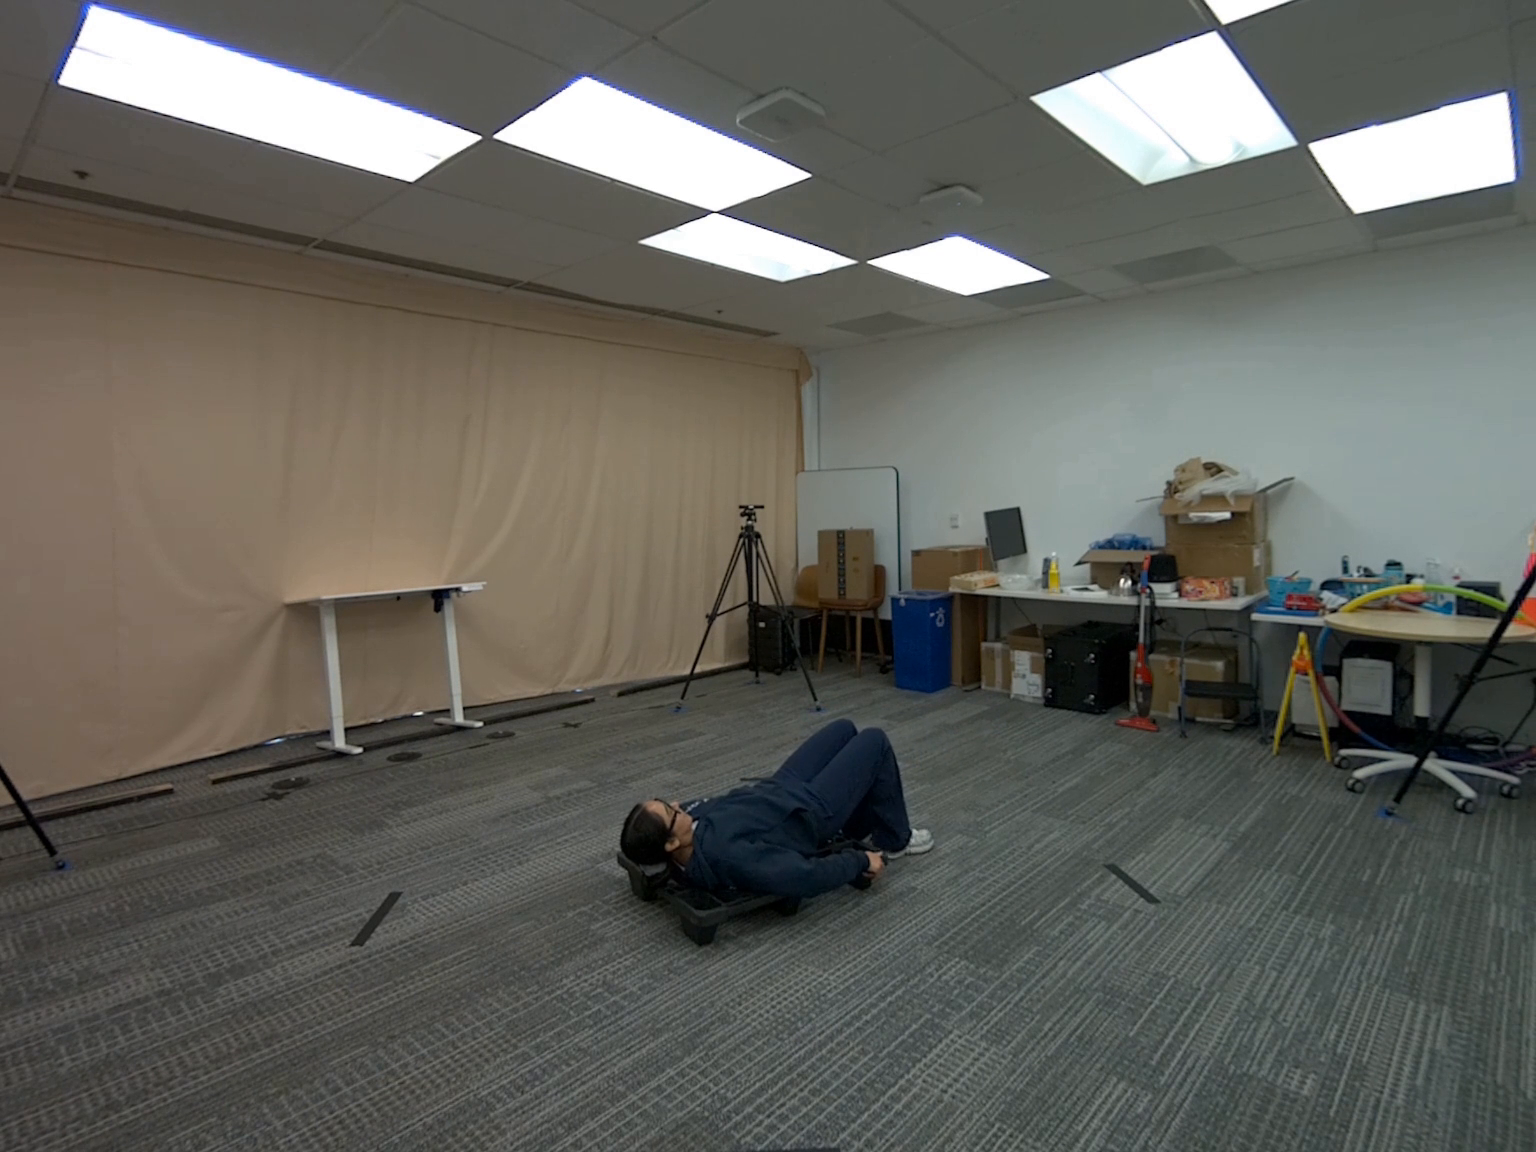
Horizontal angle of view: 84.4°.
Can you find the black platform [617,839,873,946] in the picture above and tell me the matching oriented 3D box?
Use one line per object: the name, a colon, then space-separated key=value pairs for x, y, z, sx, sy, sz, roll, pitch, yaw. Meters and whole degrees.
black platform: x=-0.071 y=1.072 z=3.052 sx=0.783 sy=0.143 sz=0.624 roll=-4 pitch=6 yaw=-33
